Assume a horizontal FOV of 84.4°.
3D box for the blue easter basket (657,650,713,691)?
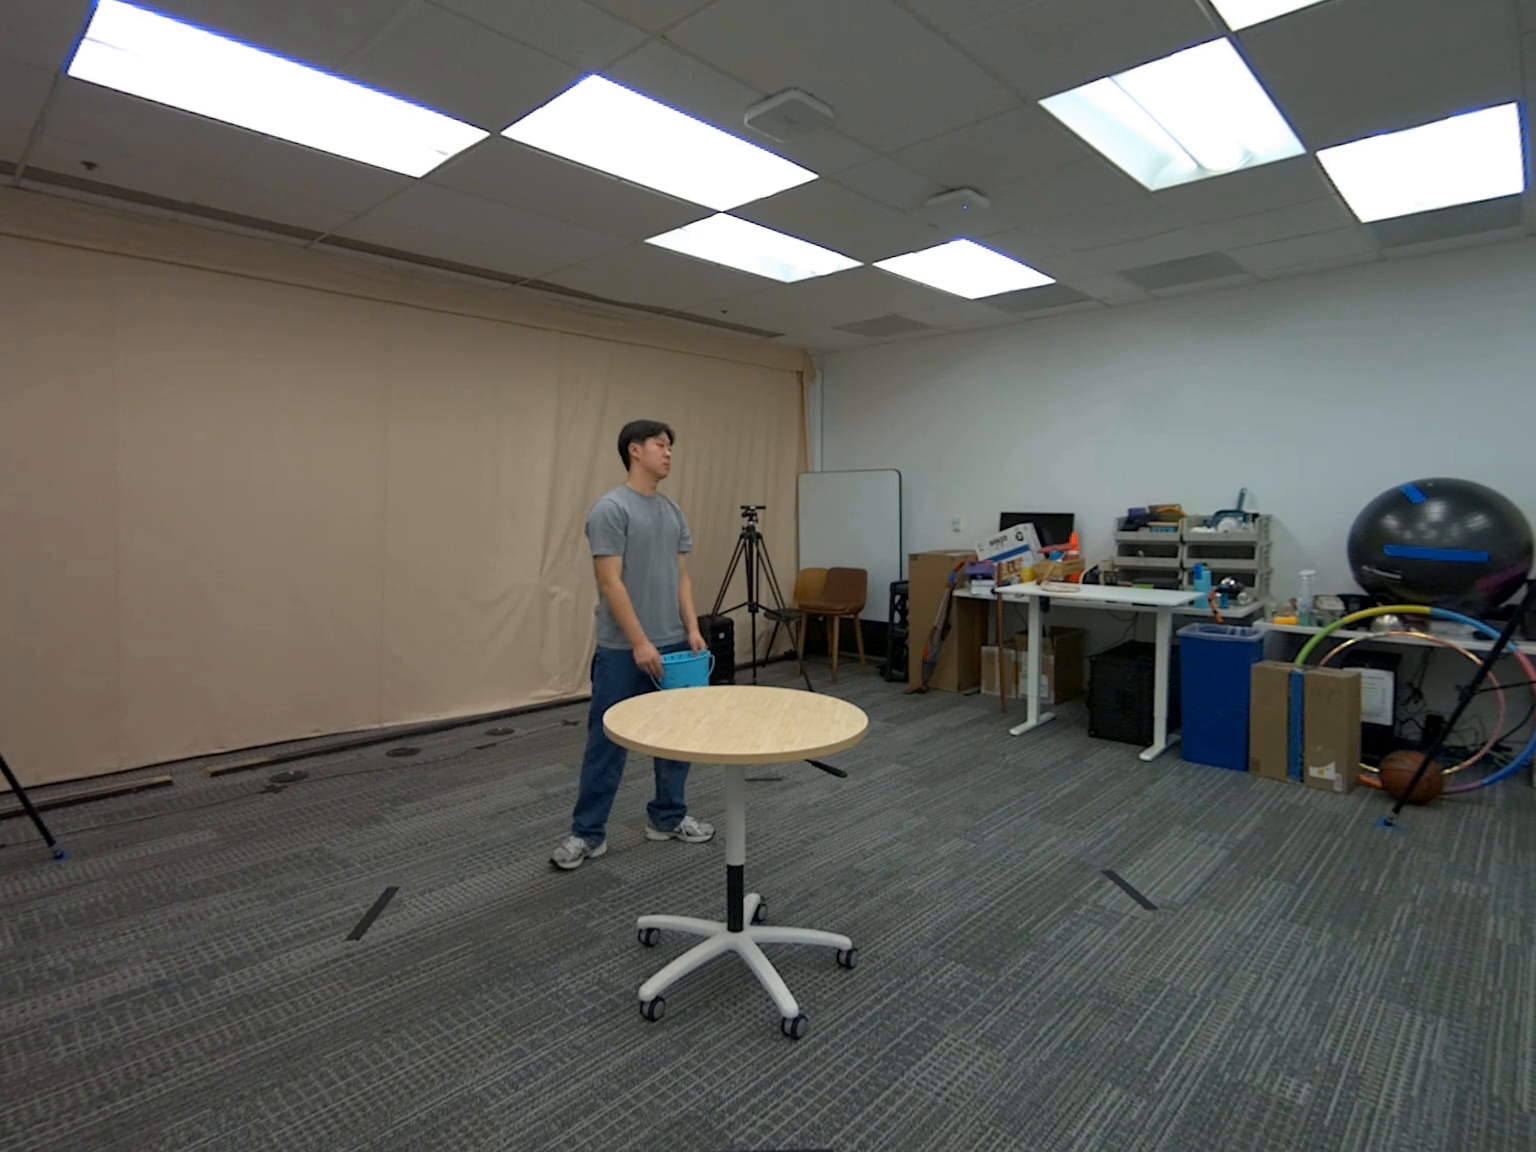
[{"bbox_3d":[-0.339,0.382,3.274,0.243,0.155,0.244,-7,4,-1],"label":"blue easter basket"}]
